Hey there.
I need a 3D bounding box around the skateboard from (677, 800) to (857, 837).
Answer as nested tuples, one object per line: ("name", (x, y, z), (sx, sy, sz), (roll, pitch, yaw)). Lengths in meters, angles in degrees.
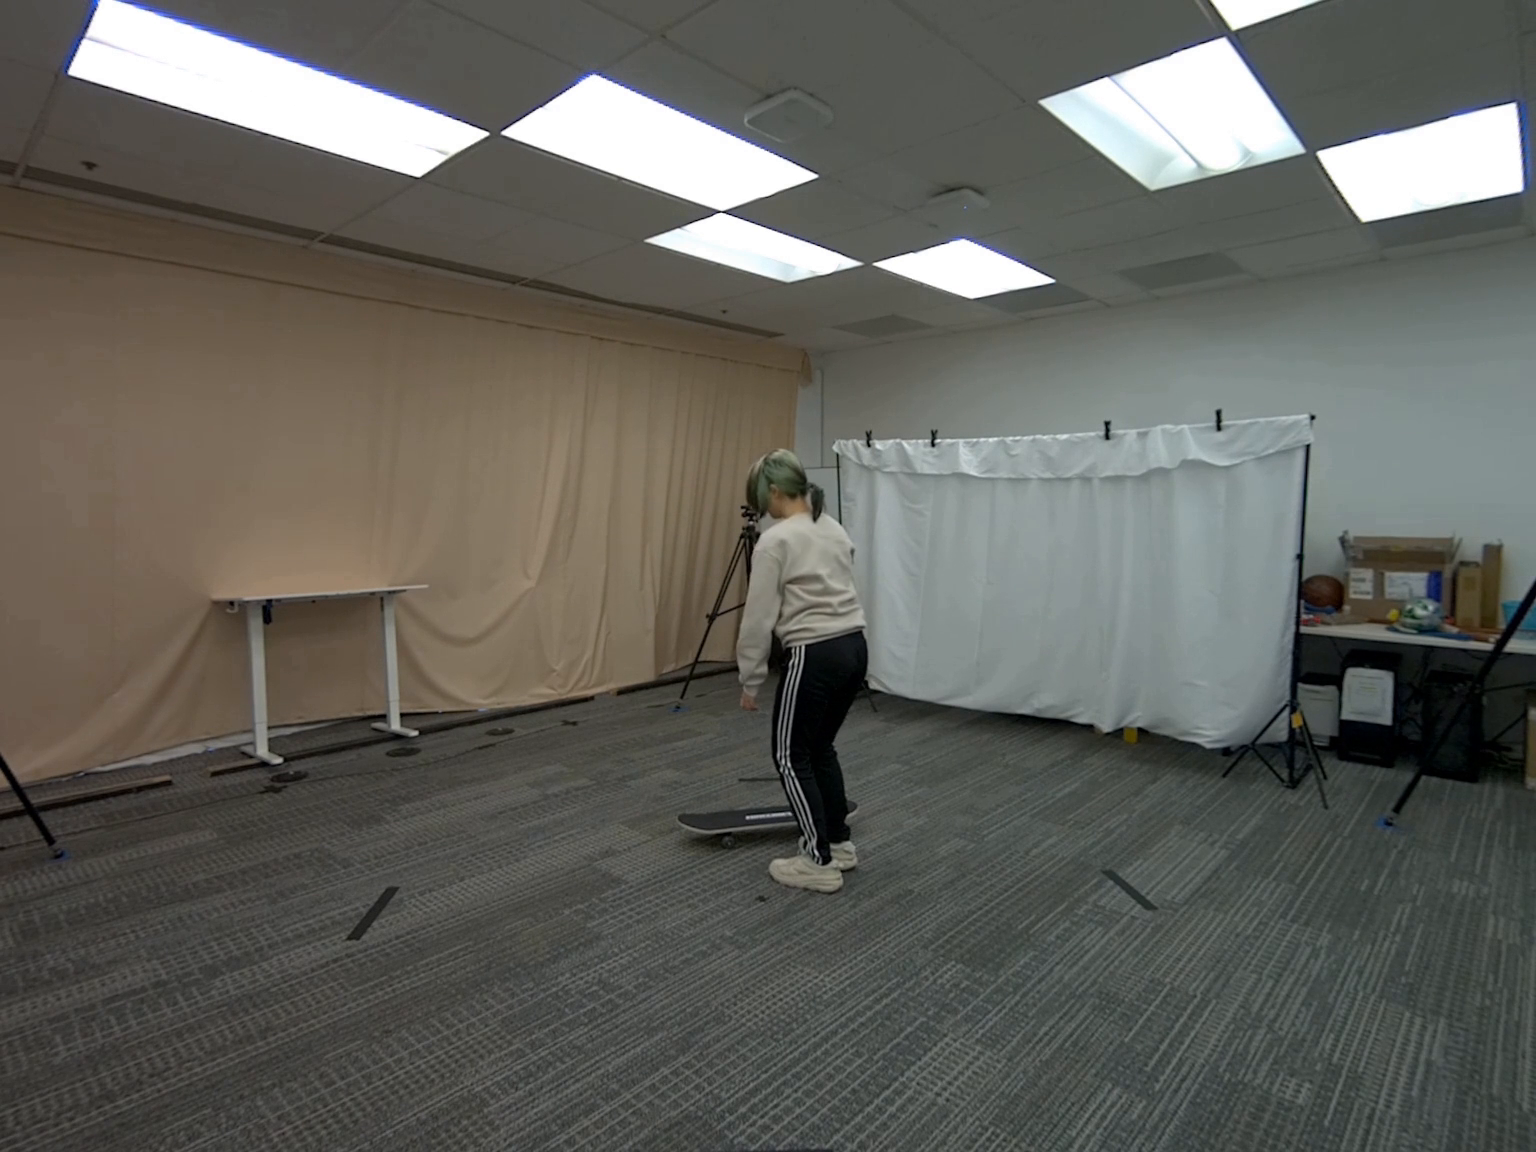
("skateboard", (0.000, 1.039, 3.543), (0.774, 0.110, 0.196), (-1, 4, -14))
